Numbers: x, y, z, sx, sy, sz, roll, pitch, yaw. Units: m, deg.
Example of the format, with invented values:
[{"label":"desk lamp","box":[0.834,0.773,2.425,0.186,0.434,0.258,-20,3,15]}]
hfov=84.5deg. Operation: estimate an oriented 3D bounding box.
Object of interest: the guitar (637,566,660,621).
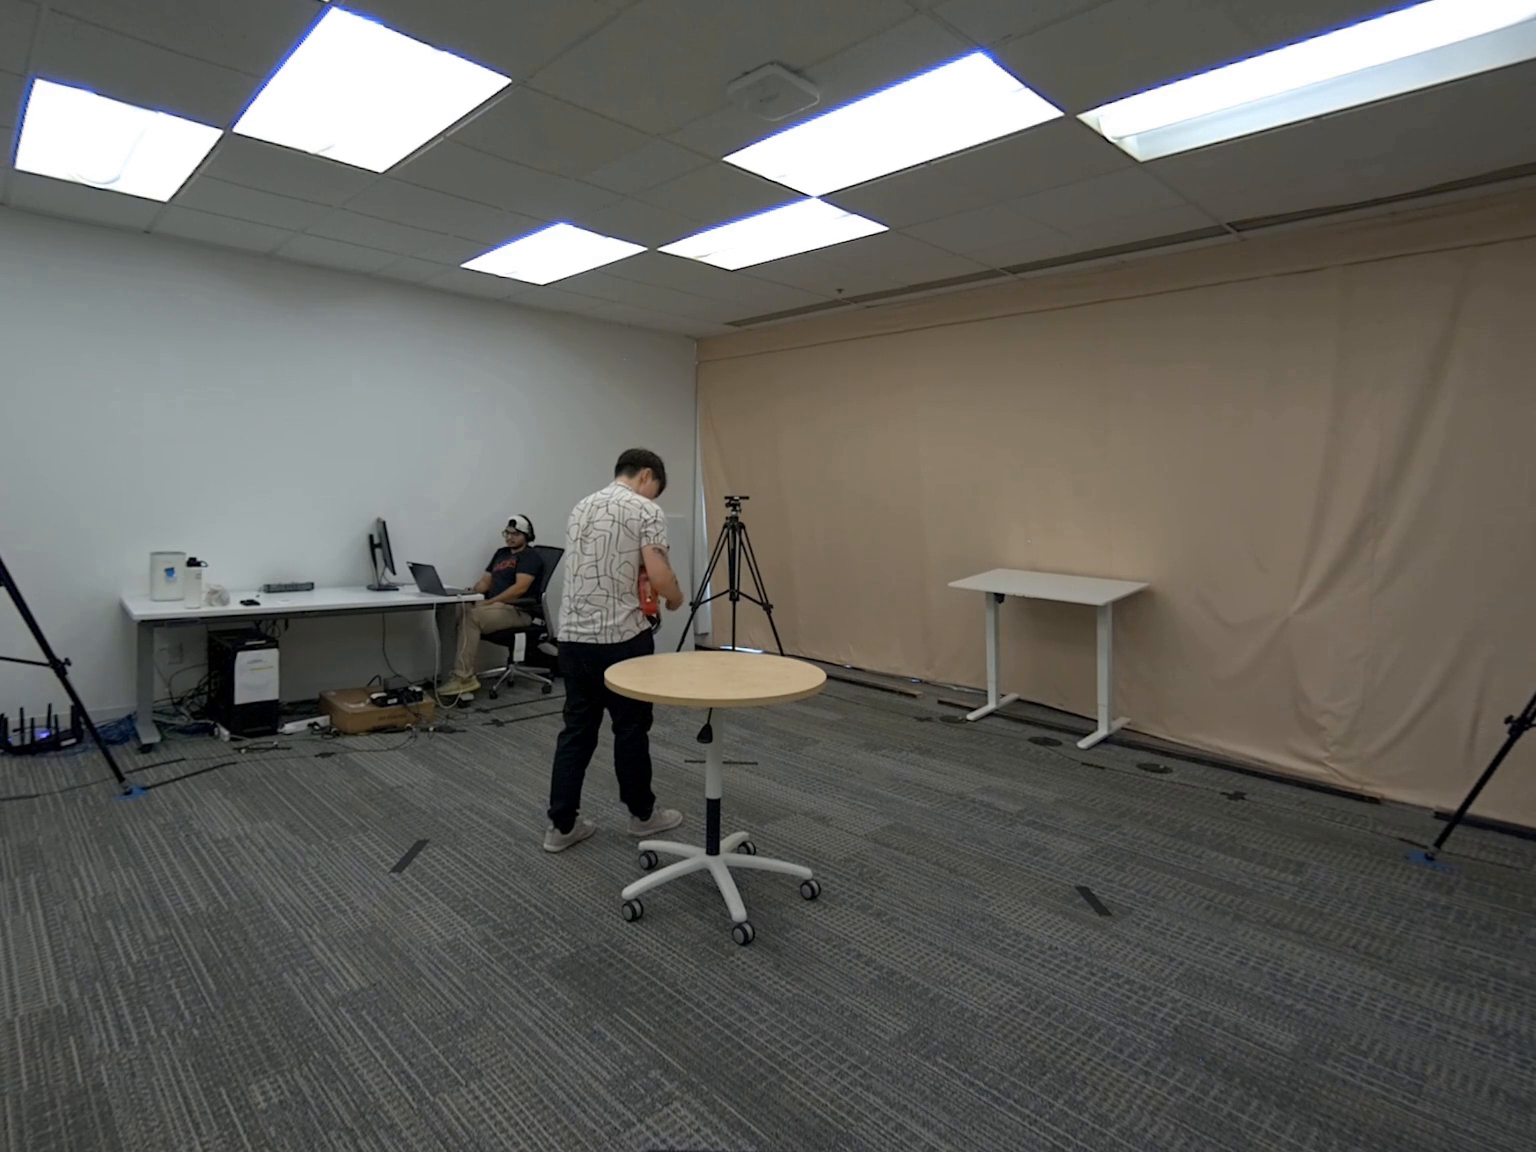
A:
[{"label":"guitar","box":[-0.492,0.100,3.526,0.070,0.195,0.492,-5,-14,-2]}]
